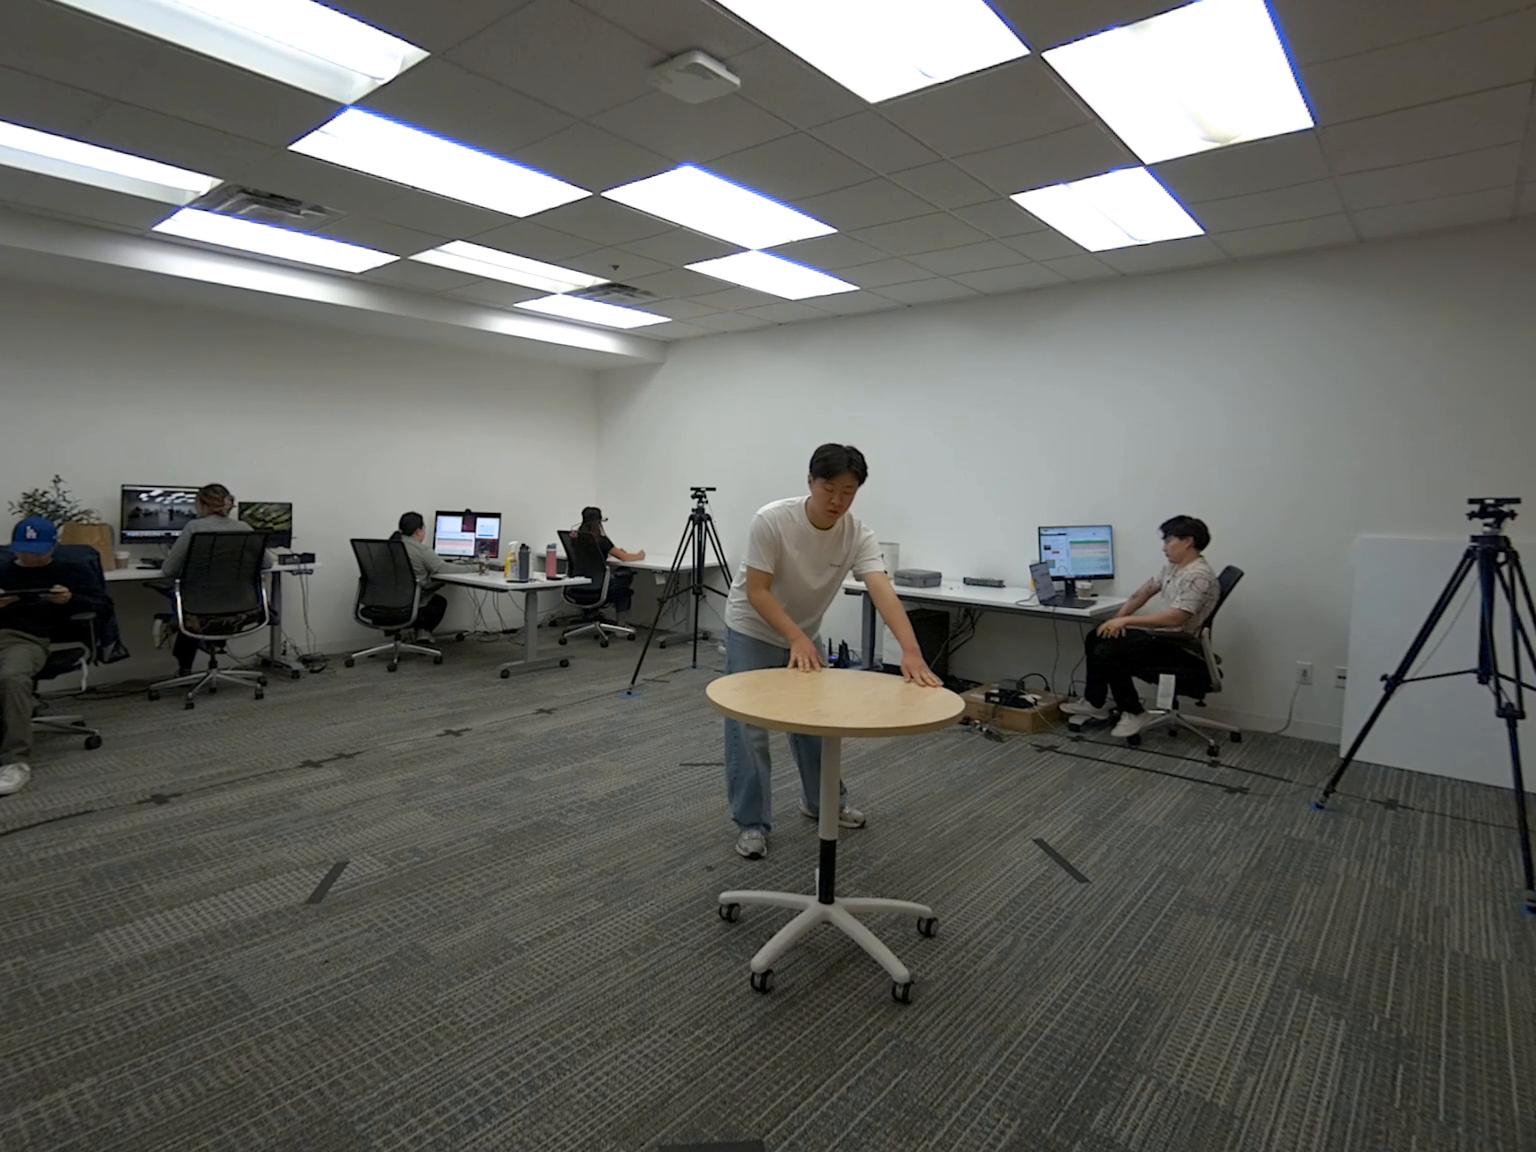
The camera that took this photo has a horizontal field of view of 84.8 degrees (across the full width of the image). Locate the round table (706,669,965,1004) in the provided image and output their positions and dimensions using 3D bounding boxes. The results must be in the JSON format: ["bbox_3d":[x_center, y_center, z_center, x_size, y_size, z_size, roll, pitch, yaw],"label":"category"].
[{"bbox_3d":[0.181,0.739,2.592,0.763,0.791,0.768,1,4,-2],"label":"round table"}]
